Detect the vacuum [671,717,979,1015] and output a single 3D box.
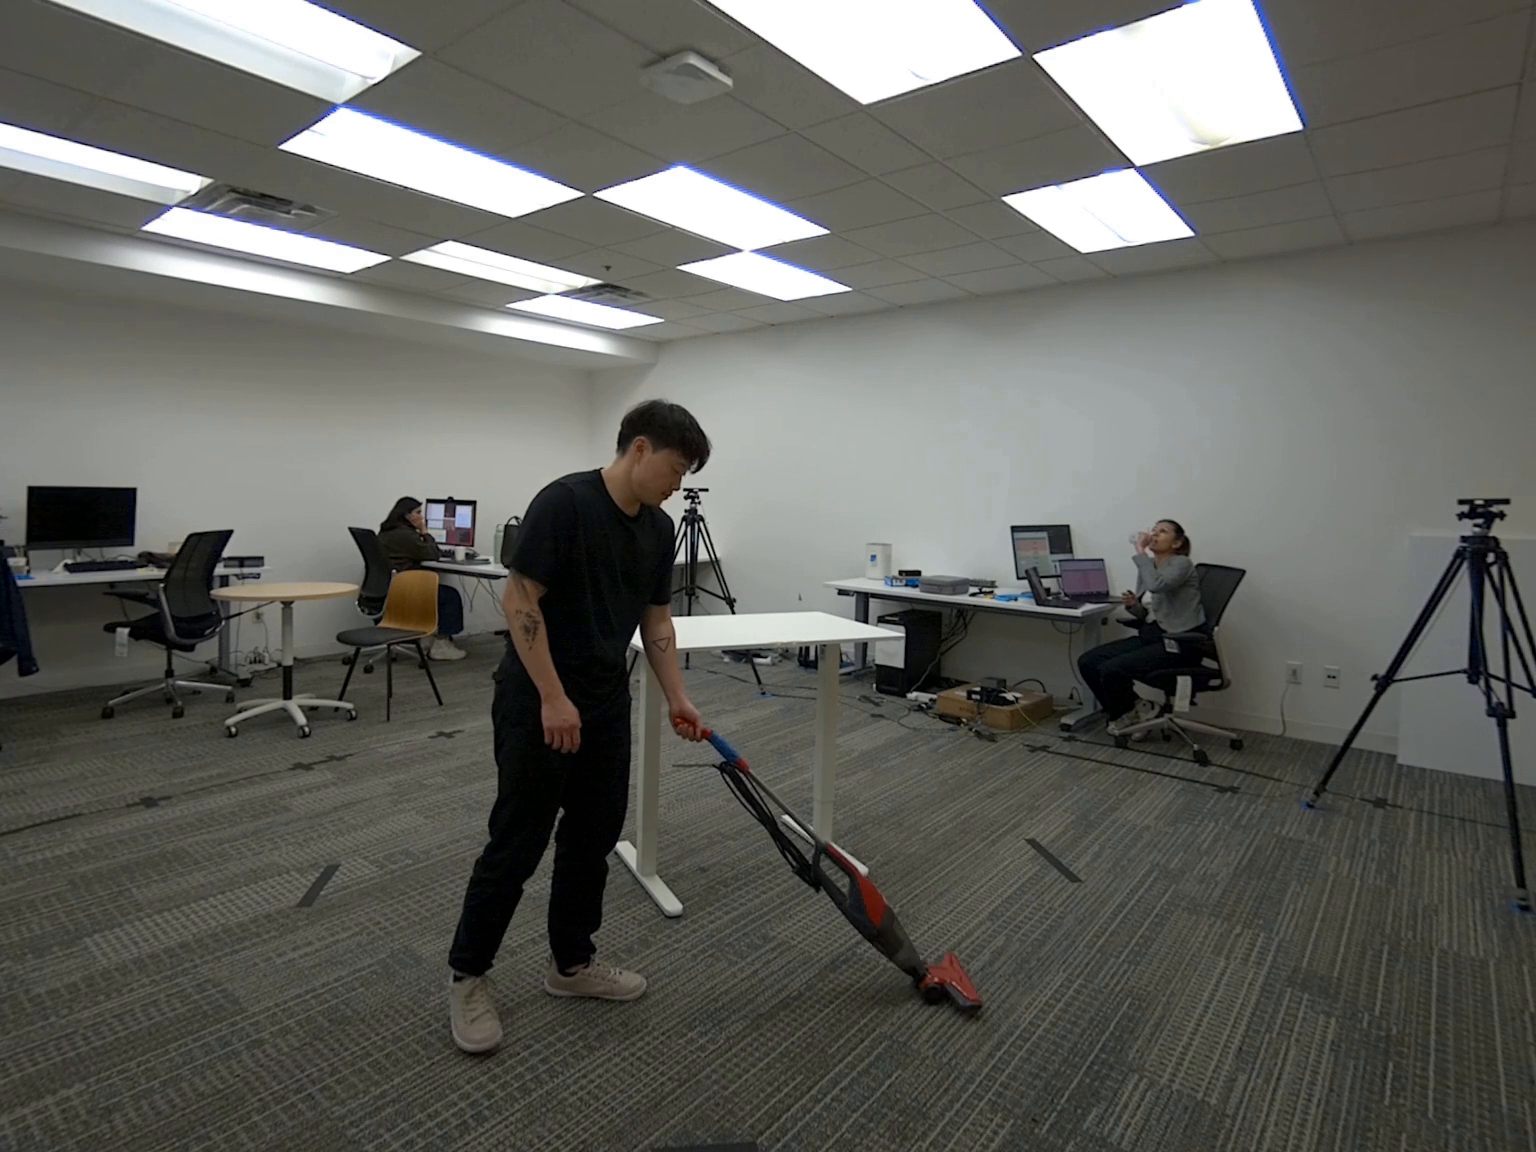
[{"bbox_3d":[0.111,0.771,2.352,1.048,0.144,0.253,45,1,-1],"label":"vacuum"}]
